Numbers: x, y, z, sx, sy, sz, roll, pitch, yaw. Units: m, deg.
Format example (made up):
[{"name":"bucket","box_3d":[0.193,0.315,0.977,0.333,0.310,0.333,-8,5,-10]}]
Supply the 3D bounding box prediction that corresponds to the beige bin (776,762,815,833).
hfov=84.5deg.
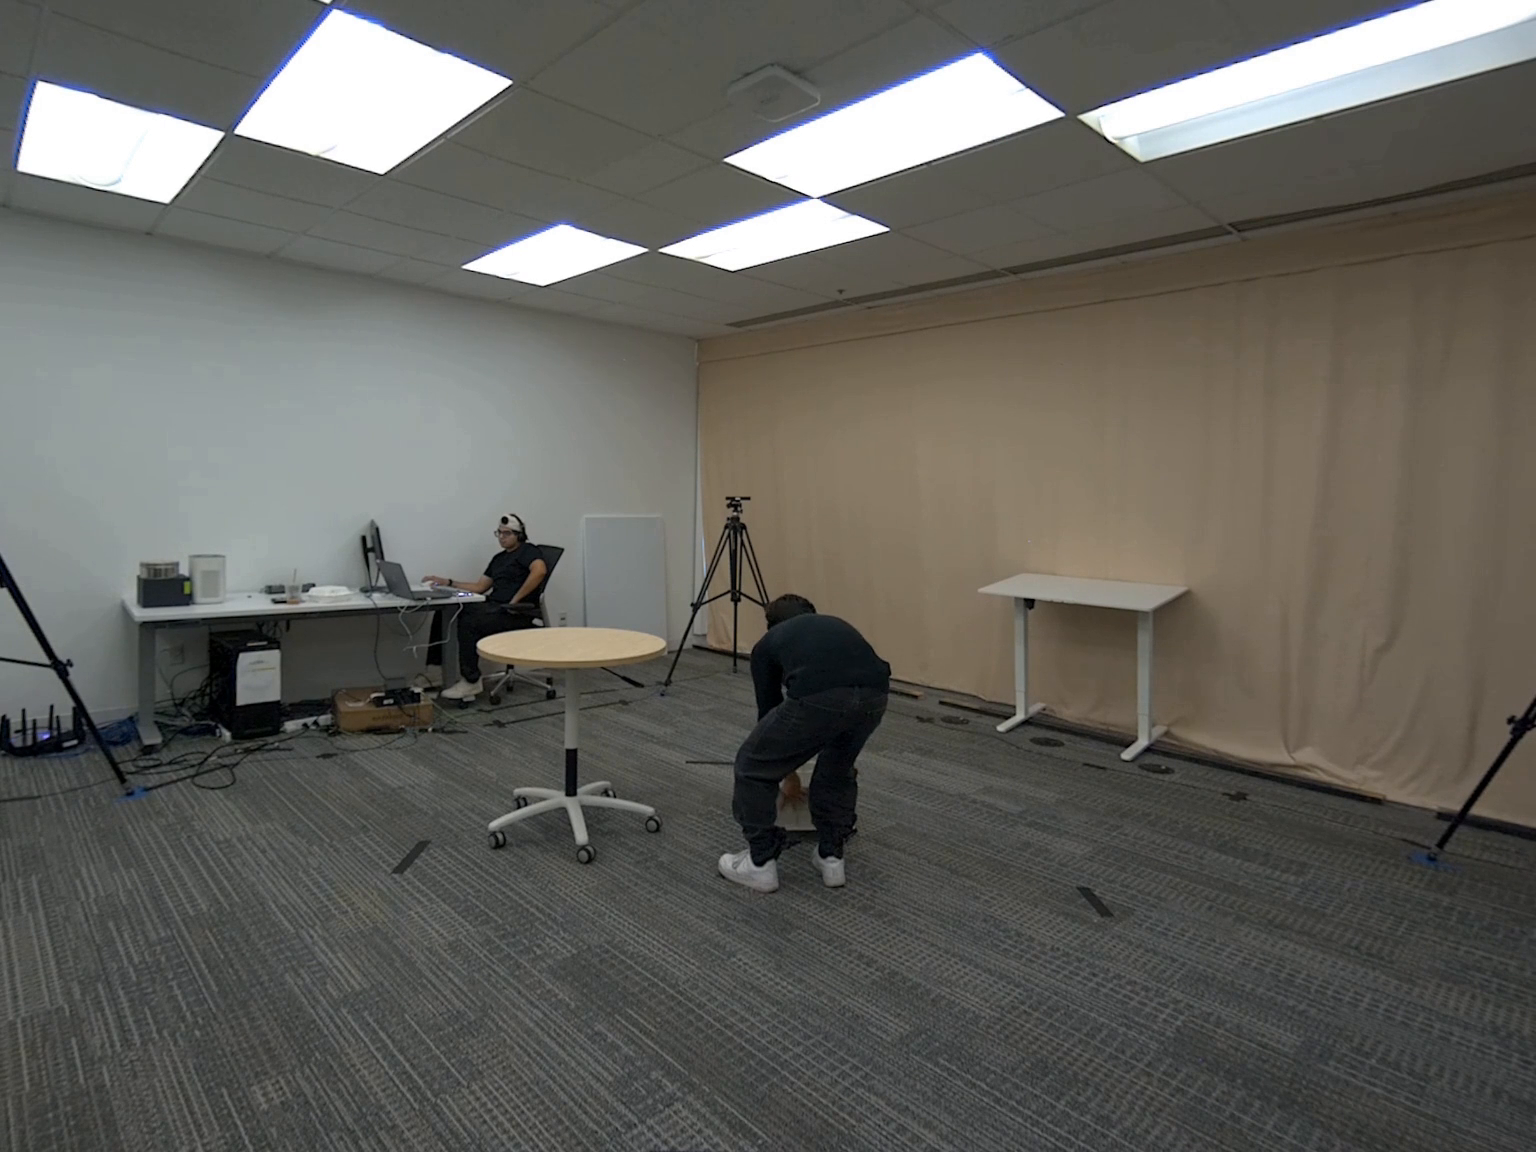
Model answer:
[{"name":"beige bin","box_3d":[0.160,0.927,3.611,0.376,0.189,0.423,1,1,-3]}]
